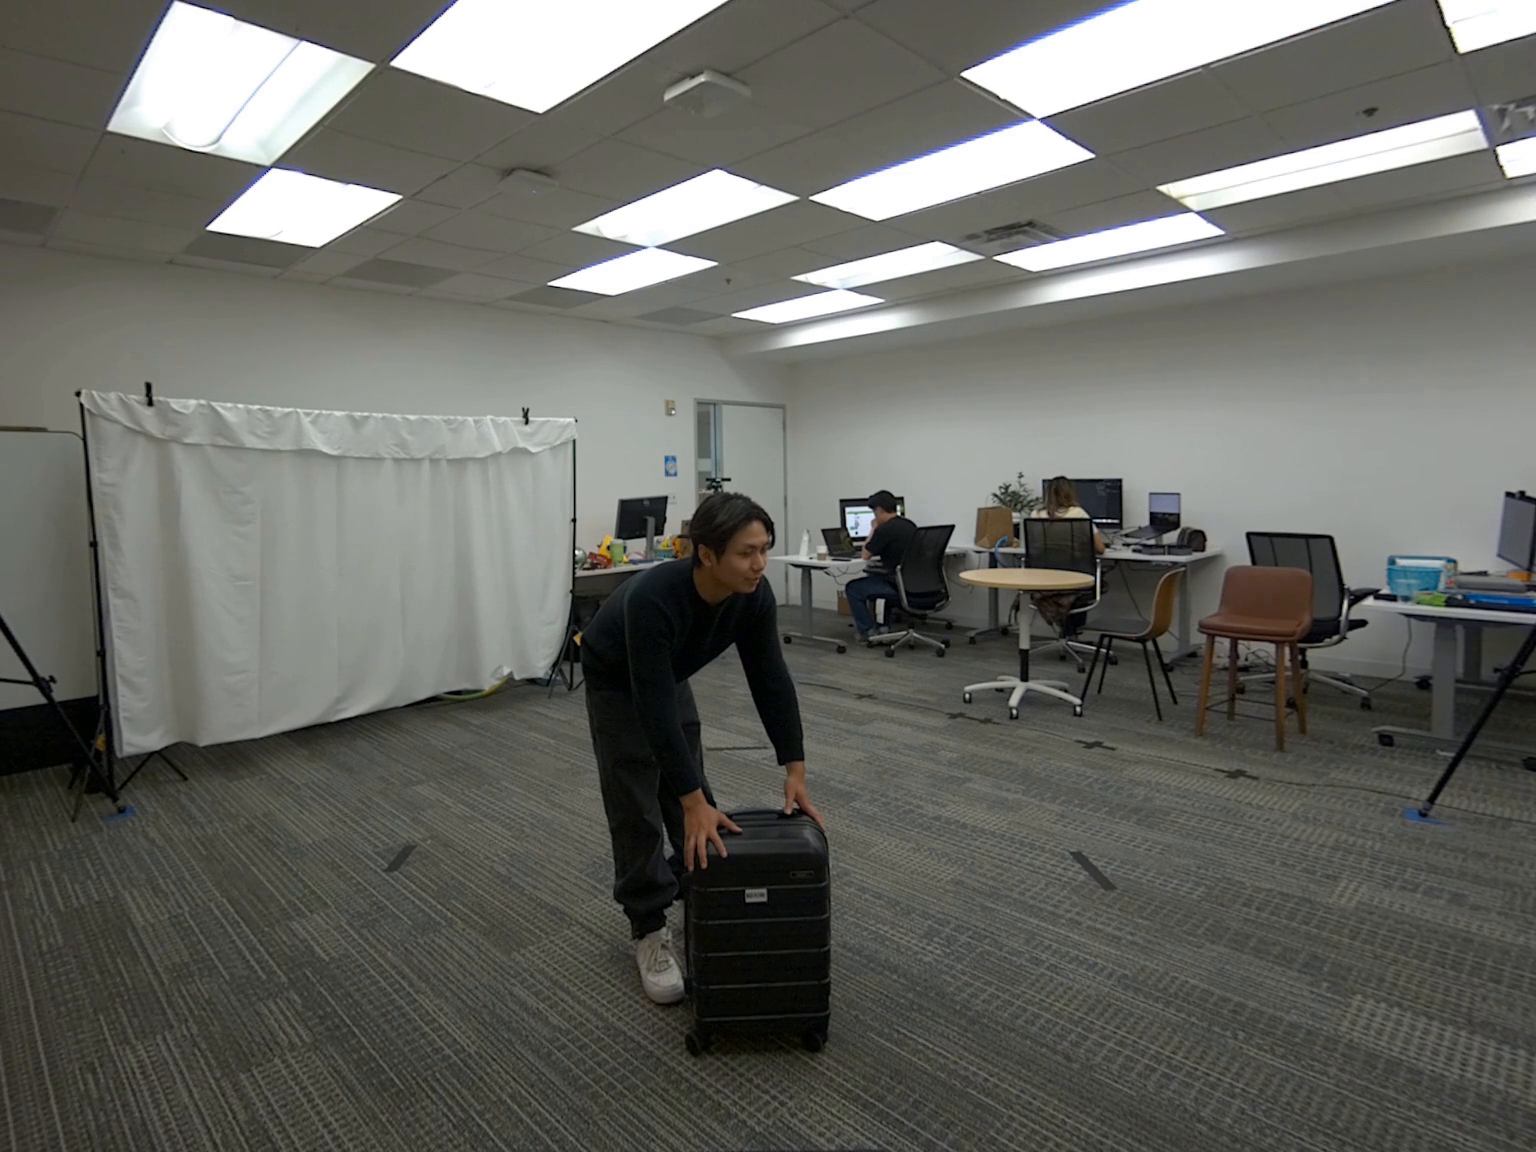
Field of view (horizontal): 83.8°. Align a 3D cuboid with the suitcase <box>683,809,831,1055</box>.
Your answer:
[{"bbox_3d":[-0.016,0.877,2.159,0.374,0.547,0.250,-1,4,-3],"label":"suitcase"}]
